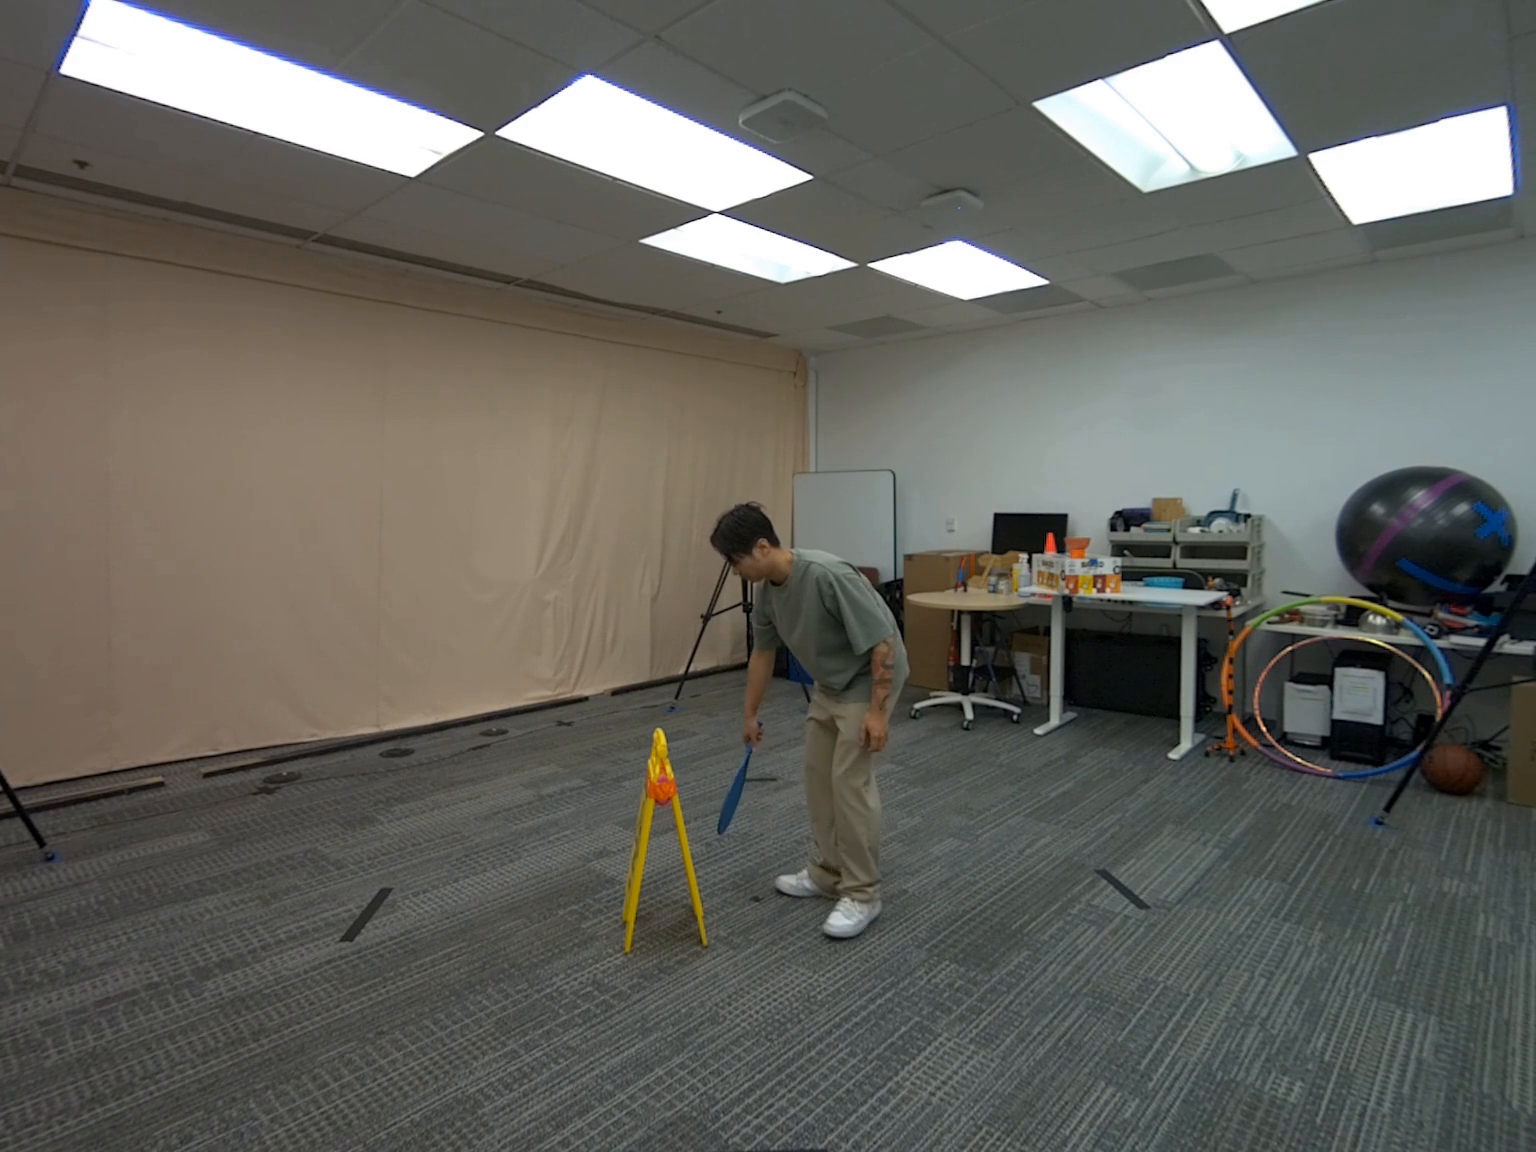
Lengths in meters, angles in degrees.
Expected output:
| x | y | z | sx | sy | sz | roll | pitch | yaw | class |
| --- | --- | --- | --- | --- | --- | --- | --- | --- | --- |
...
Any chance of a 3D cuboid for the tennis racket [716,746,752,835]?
| x | y | z | sx | sy | sz | roll | pitch | yaw | class |
| --- | --- | --- | --- | --- | --- | --- | --- | --- | --- |
| -0.090 | 0.755 | 3.118 | 0.032 | 0.434 | 0.211 | 13 | -10 | 6 | tennis racket |
